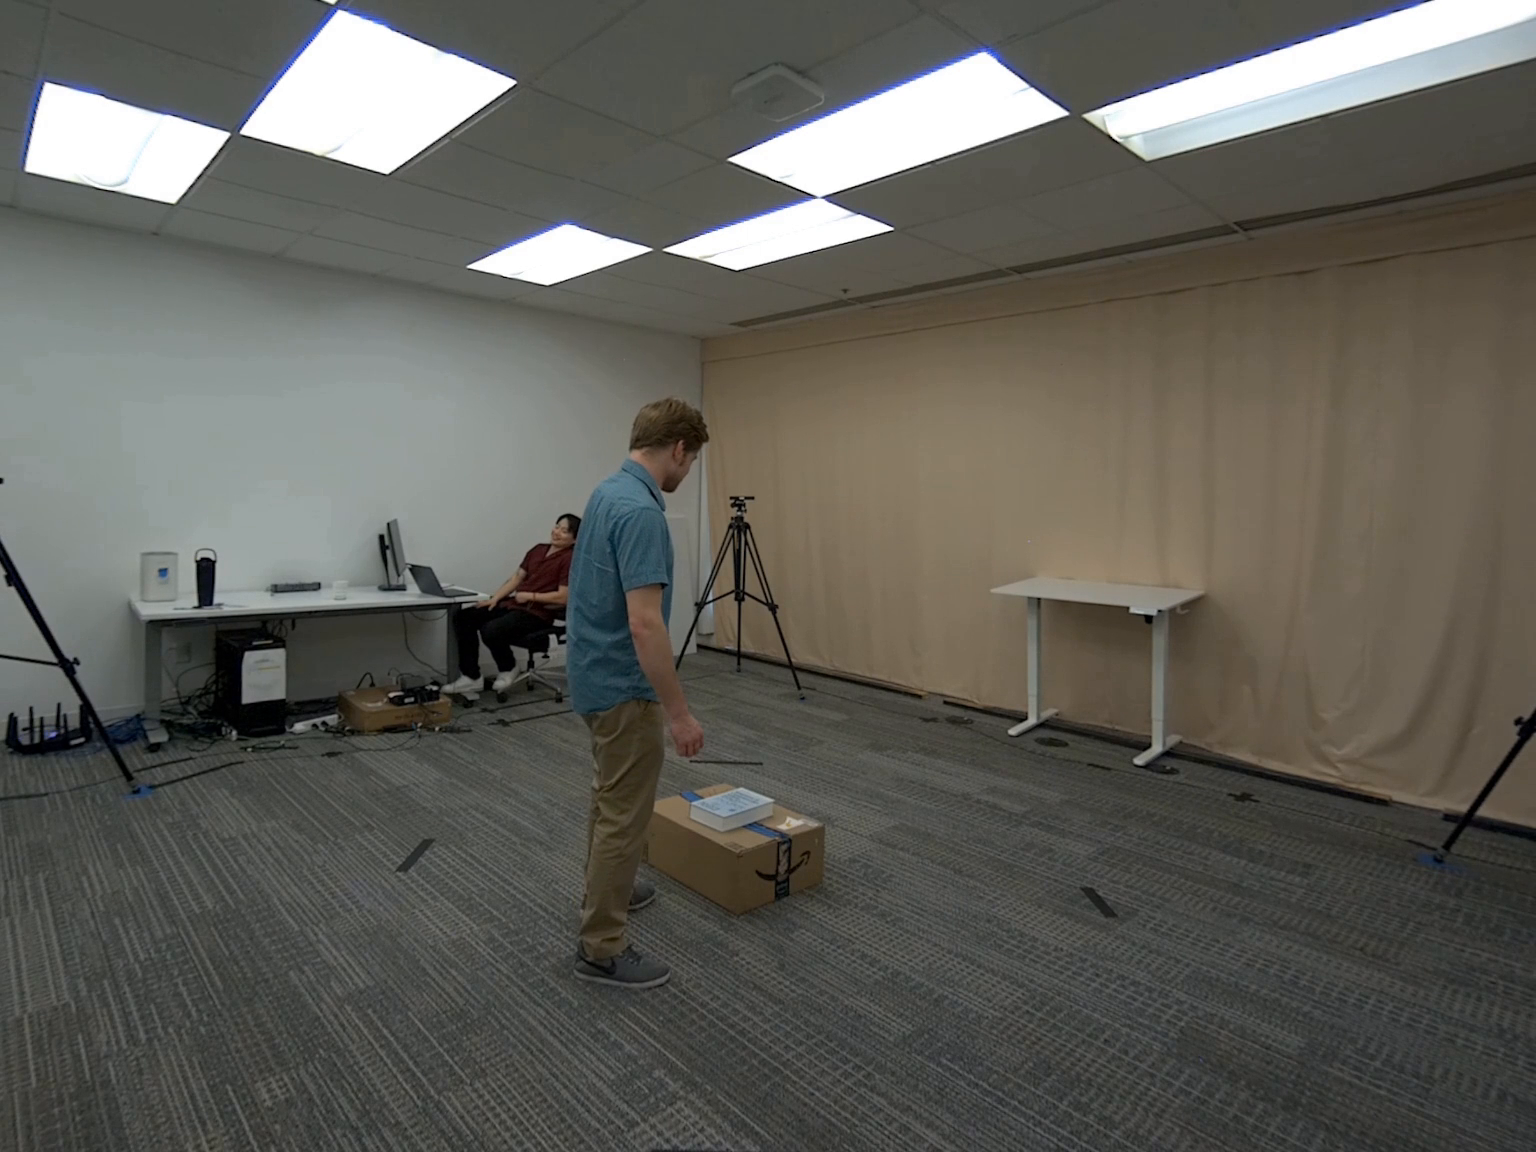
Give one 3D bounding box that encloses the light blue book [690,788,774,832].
[{"bbox_3d":[-0.141,0.860,3.125,0.255,0.059,0.196,-4,7,-45],"label":"light blue book"}]
